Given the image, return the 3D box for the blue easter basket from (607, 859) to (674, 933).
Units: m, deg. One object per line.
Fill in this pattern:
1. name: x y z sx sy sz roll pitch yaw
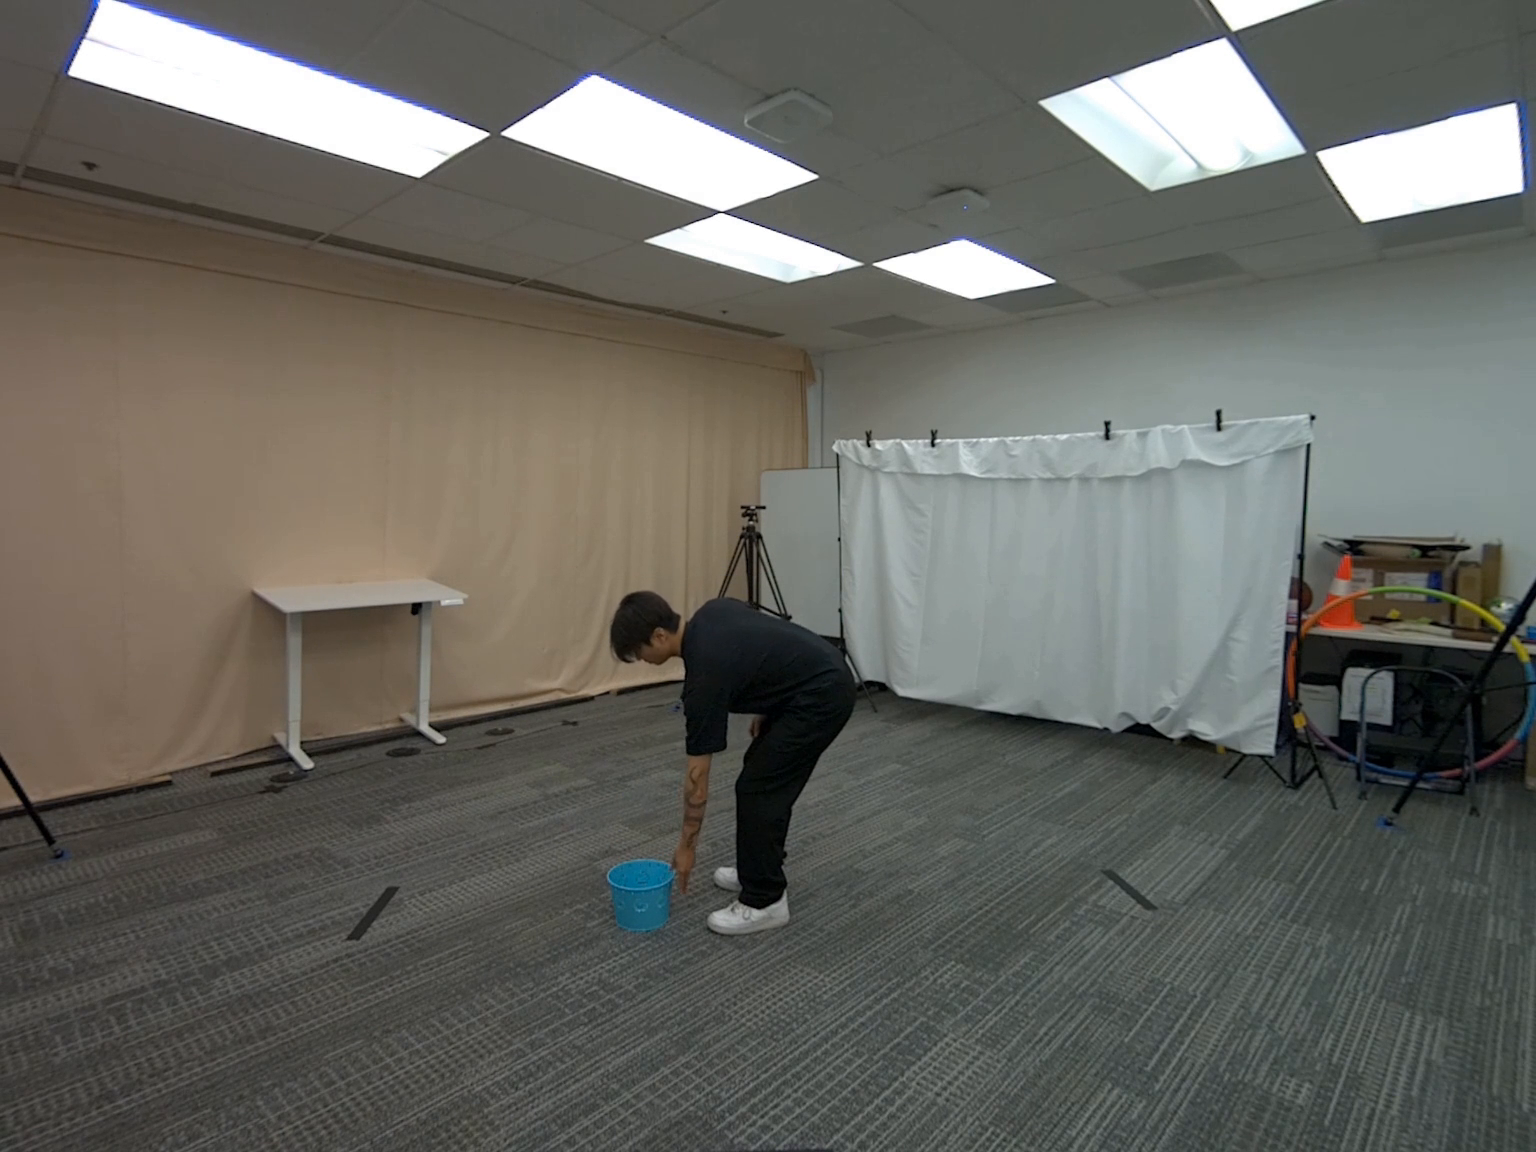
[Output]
1. blue easter basket: -0.422 1.080 2.844 0.243 0.155 0.244 -1 4 -2
